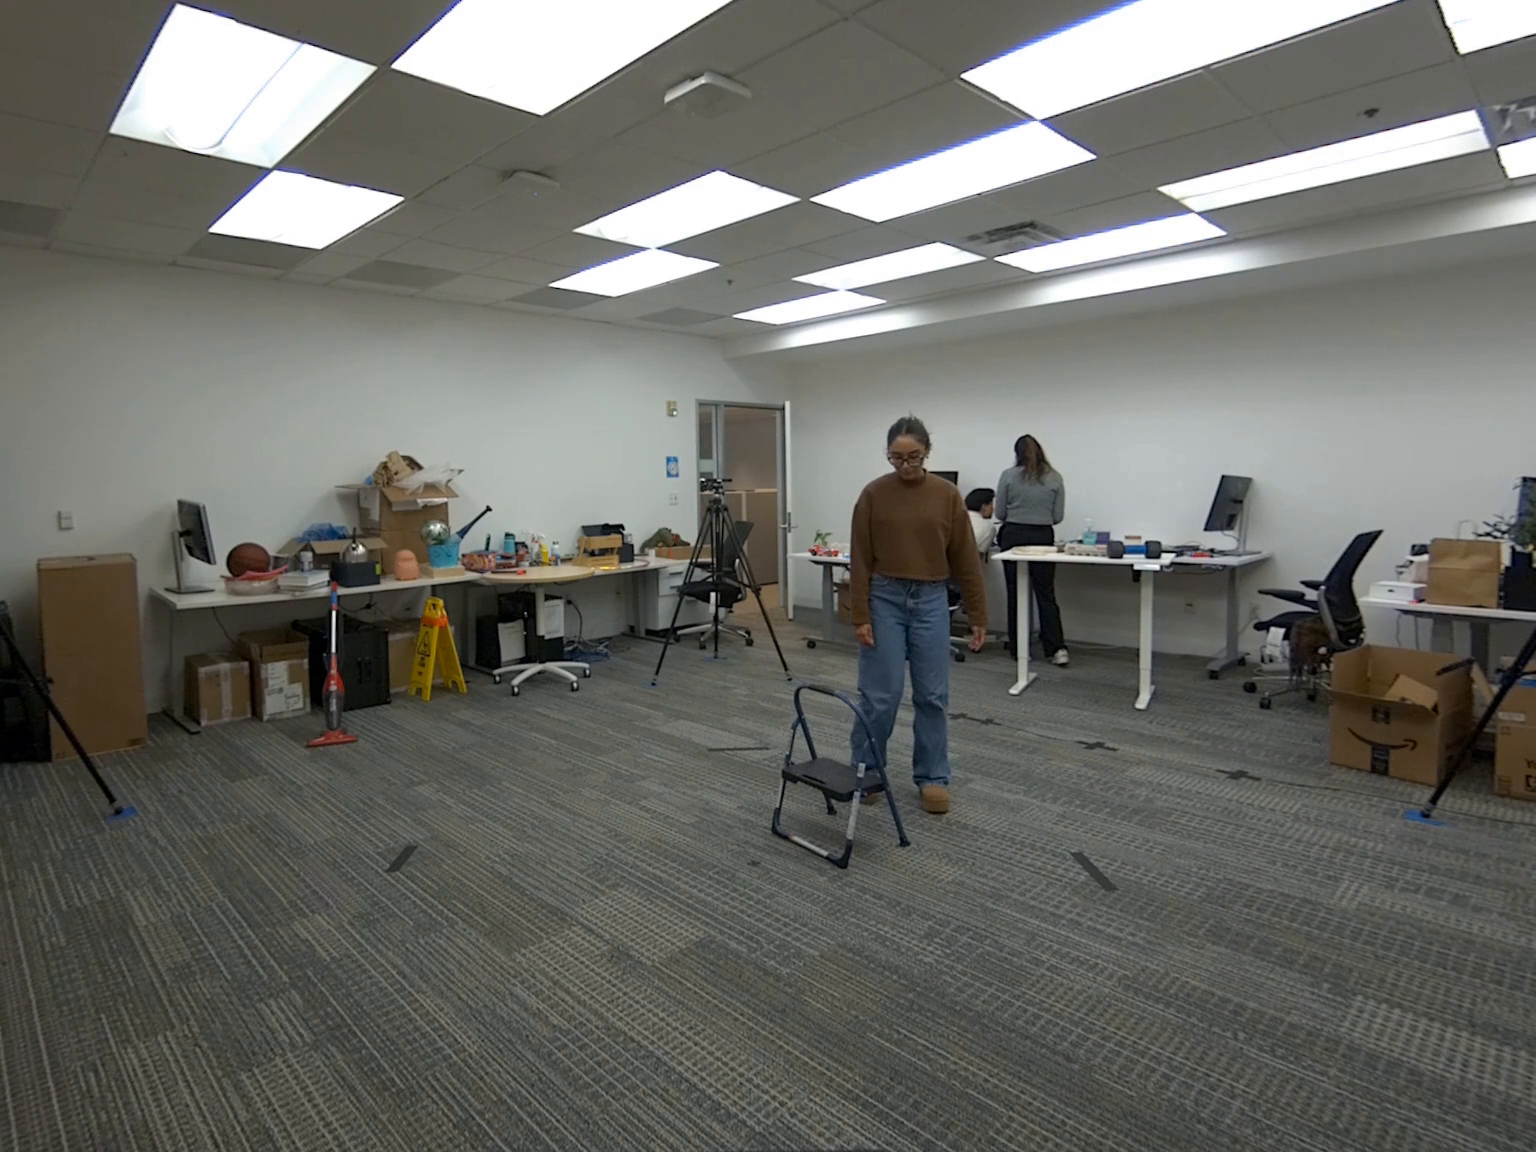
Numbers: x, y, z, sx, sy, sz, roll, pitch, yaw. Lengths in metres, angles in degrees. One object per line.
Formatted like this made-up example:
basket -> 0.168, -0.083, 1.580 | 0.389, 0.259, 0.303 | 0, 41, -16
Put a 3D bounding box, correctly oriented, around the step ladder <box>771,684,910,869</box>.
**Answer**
step ladder -> 0.267, 0.712, 3.290 | 0.340, 0.604, 0.443 | -5, 6, -38
